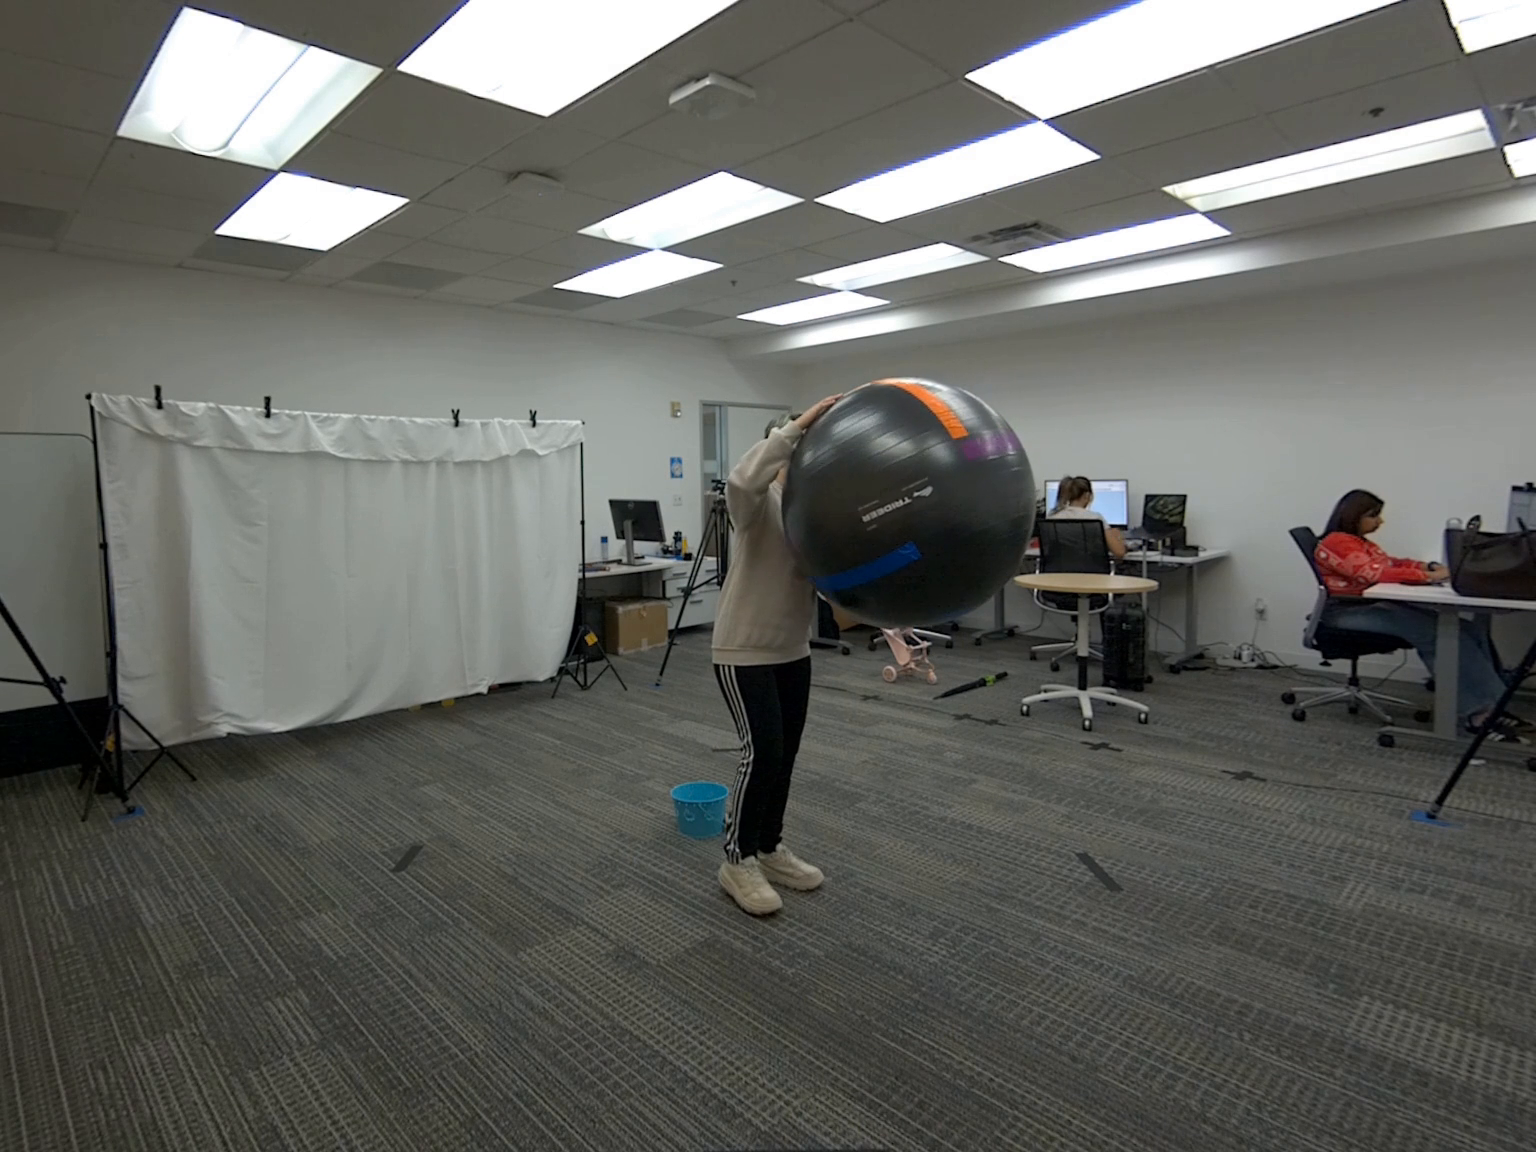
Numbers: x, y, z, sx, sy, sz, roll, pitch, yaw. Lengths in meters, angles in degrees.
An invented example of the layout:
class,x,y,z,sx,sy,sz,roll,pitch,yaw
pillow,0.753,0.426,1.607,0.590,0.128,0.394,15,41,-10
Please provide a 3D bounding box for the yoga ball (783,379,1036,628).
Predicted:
class,x,y,z,sx,sy,sz,roll,pitch,yaw
yoga ball,0.424,-0.219,2.595,0.757,0.755,0.762,-1,5,-2
